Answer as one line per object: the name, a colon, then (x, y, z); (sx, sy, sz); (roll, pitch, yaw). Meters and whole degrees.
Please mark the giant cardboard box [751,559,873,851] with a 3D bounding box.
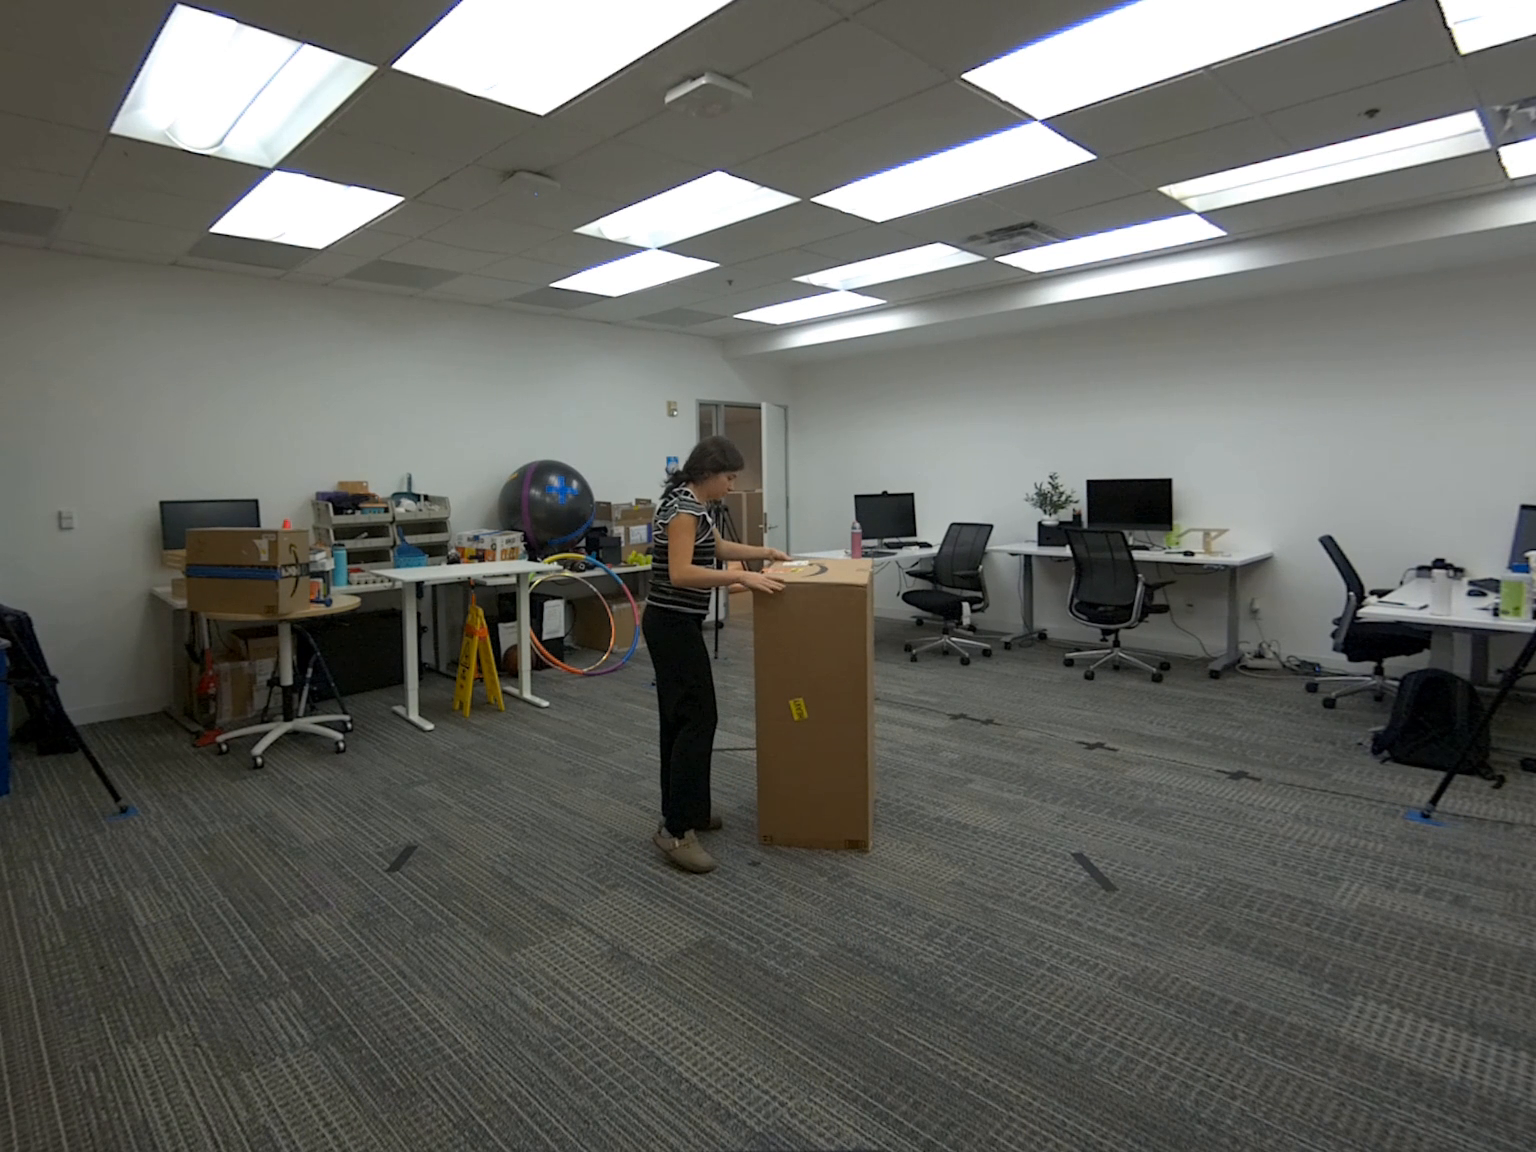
giant cardboard box: (0.204, 0.484, 3.447); (0.431, 1.019, 0.575); (1, 8, 10)
